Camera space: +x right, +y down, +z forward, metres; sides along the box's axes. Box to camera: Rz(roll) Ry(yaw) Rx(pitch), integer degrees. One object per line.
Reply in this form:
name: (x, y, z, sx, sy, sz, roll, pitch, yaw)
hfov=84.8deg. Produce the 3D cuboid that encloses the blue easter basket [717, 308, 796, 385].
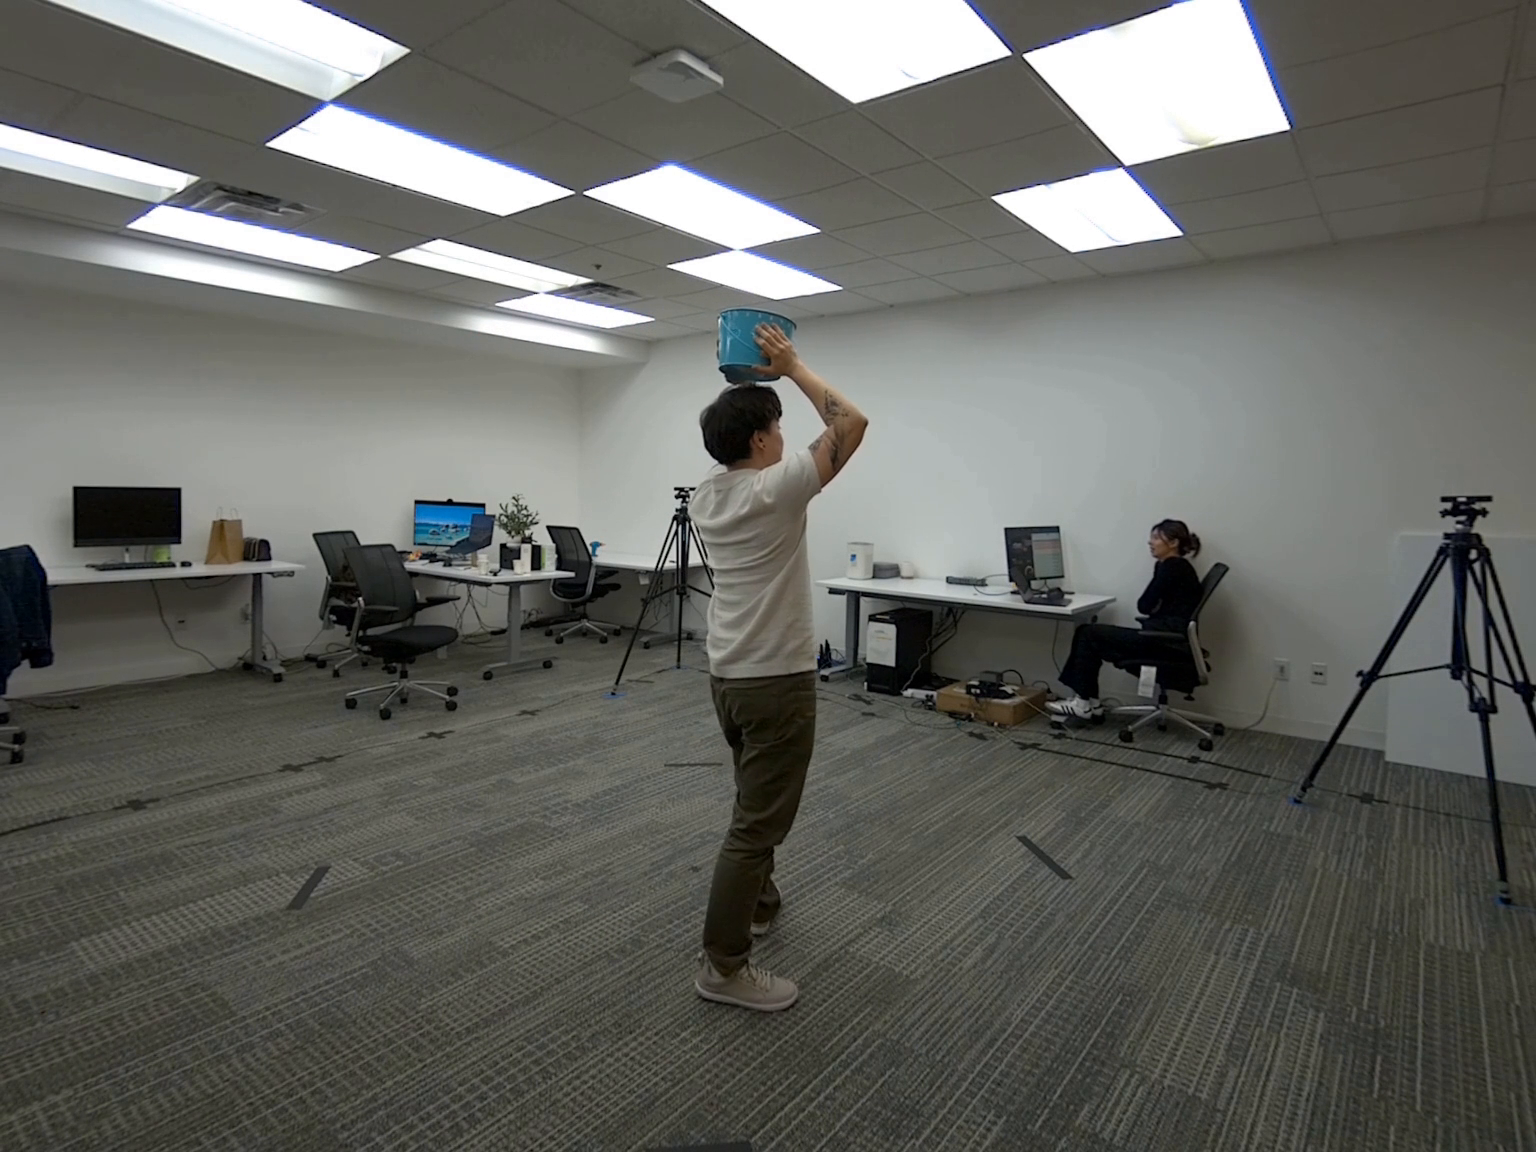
blue easter basket: (-0.050, -0.659, 2.434, 0.243, 0.156, 0.243, 6, 0, -2)
